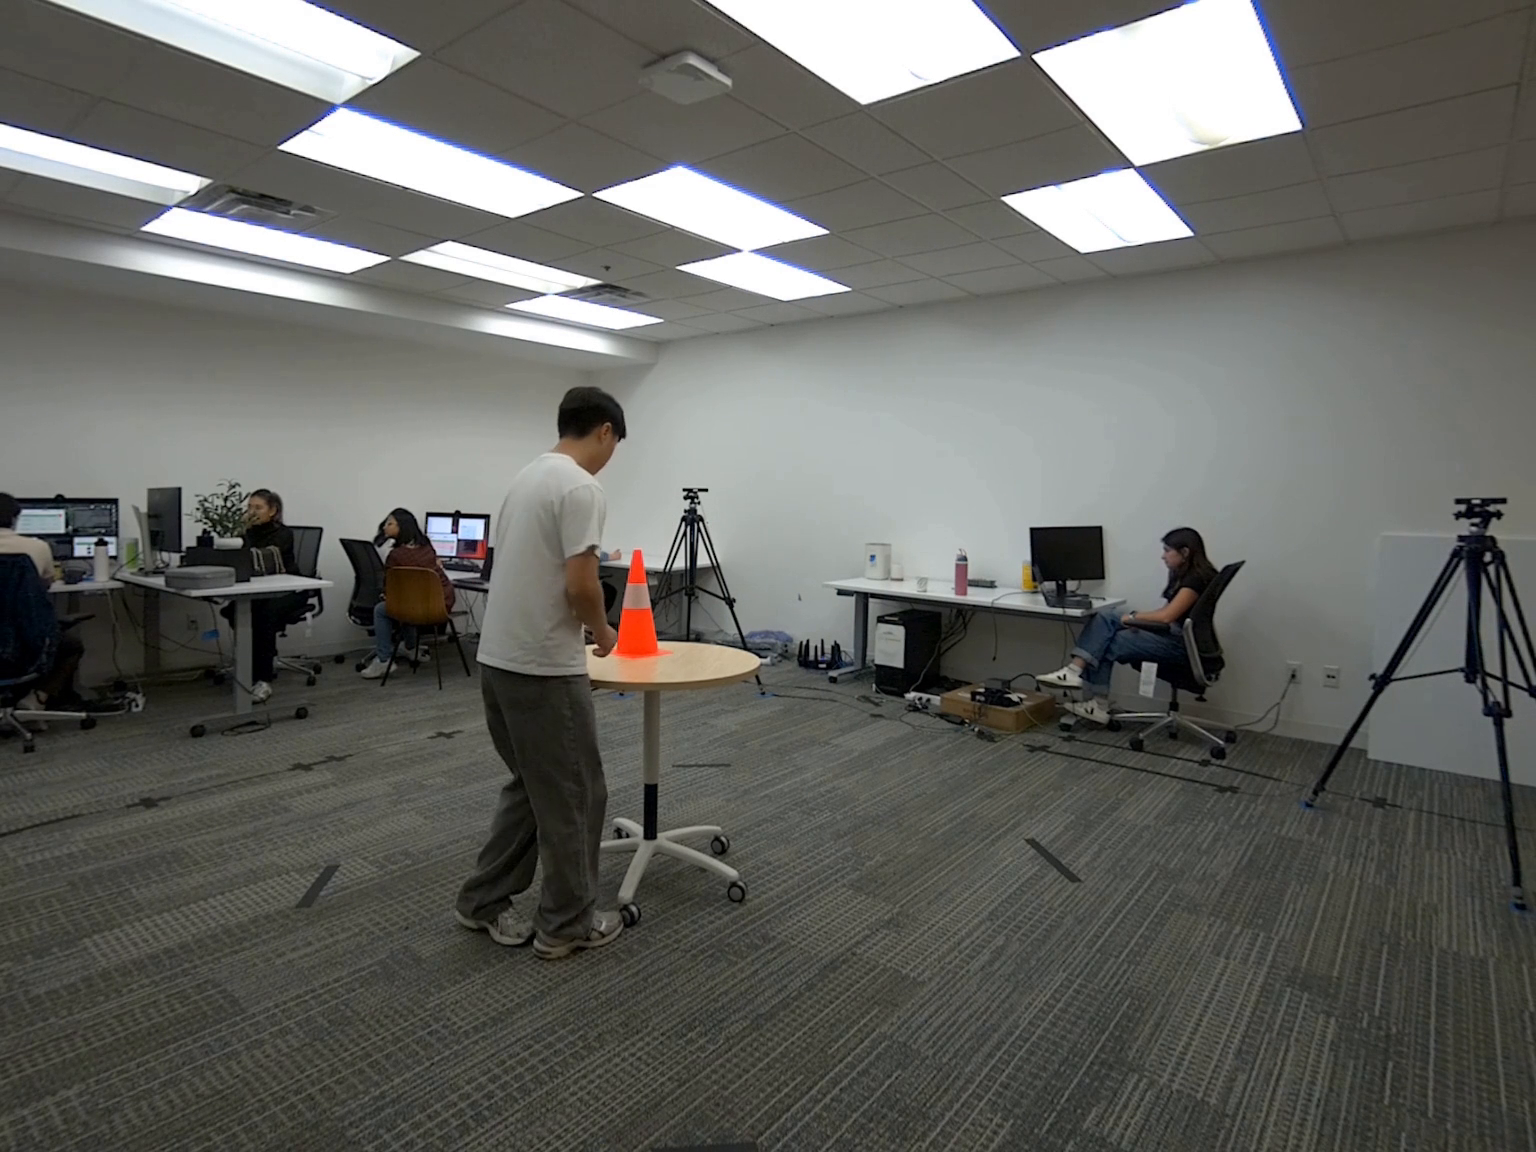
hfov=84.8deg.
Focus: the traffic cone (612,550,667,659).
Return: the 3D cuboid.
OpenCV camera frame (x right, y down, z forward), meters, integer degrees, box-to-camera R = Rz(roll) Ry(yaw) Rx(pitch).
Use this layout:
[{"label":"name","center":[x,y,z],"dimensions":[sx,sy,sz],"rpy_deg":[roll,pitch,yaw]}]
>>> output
[{"label":"traffic cone","center":[-0.487,0.090,3.145],"dimensions":[0.211,0.383,0.198],"rpy_deg":[2,3,33]}]
